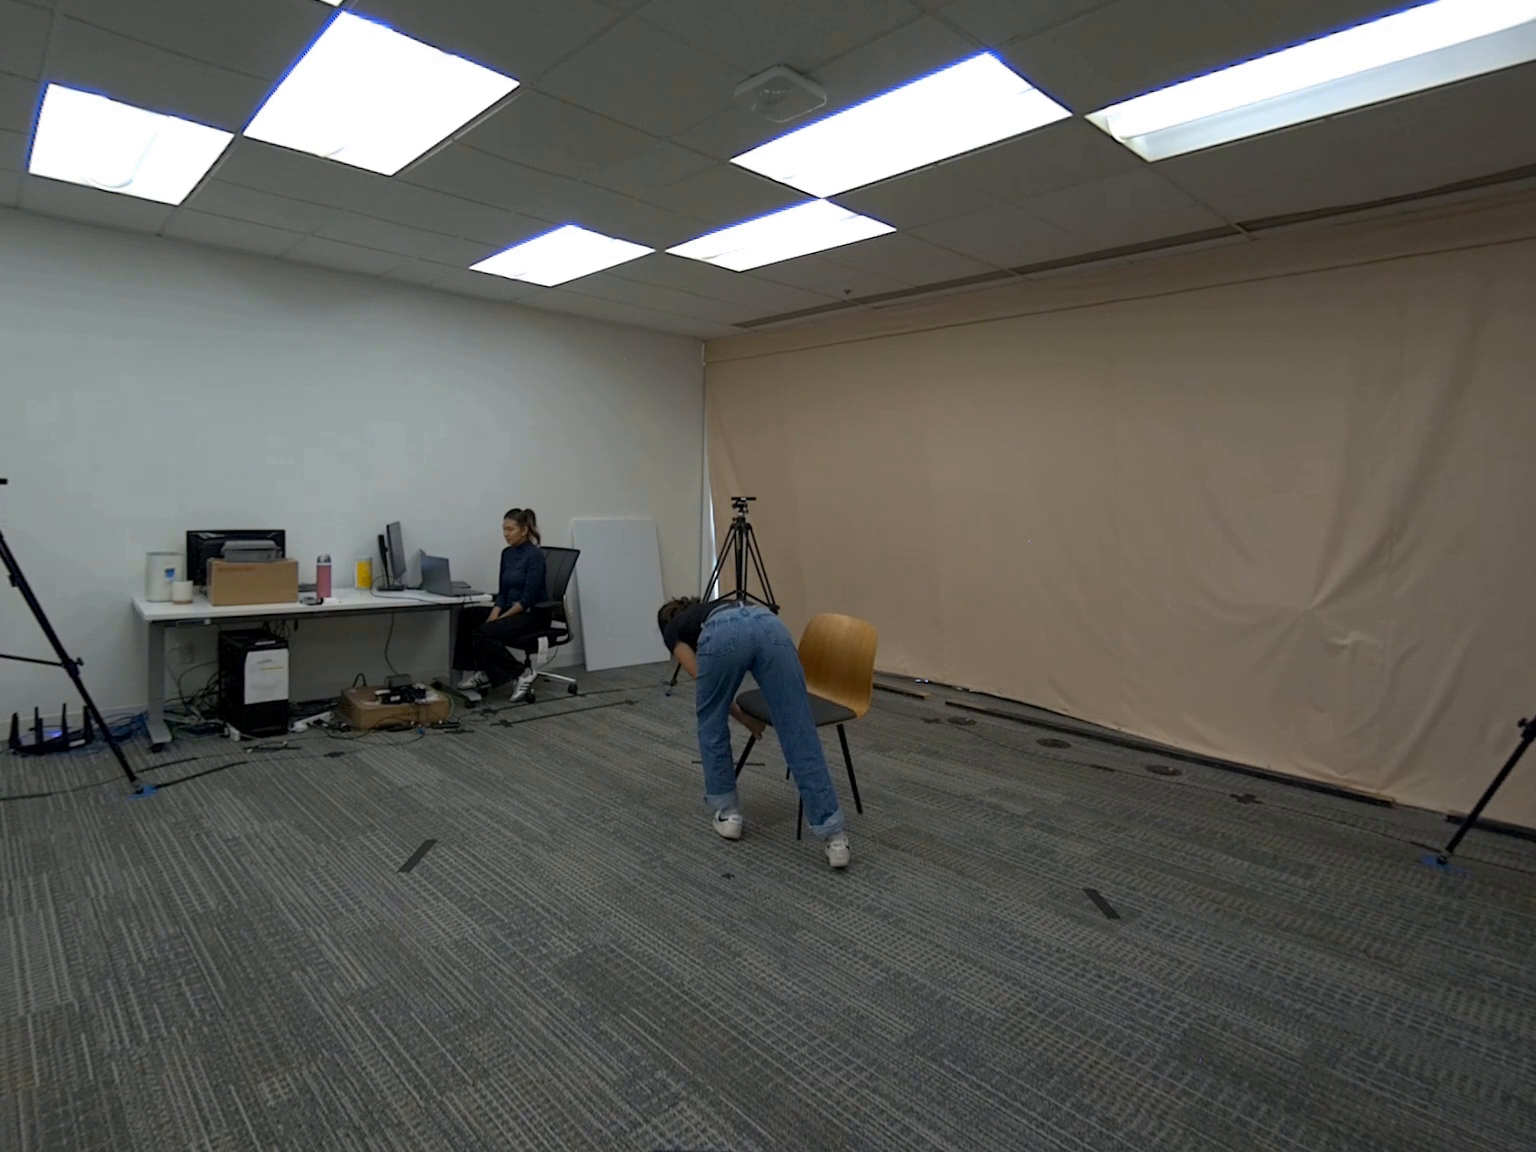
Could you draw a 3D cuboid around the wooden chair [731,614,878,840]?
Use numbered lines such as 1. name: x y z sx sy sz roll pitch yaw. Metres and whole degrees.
1. wooden chair: 0.137 0.611 3.698 0.491 0.875 0.510 13 6 42
